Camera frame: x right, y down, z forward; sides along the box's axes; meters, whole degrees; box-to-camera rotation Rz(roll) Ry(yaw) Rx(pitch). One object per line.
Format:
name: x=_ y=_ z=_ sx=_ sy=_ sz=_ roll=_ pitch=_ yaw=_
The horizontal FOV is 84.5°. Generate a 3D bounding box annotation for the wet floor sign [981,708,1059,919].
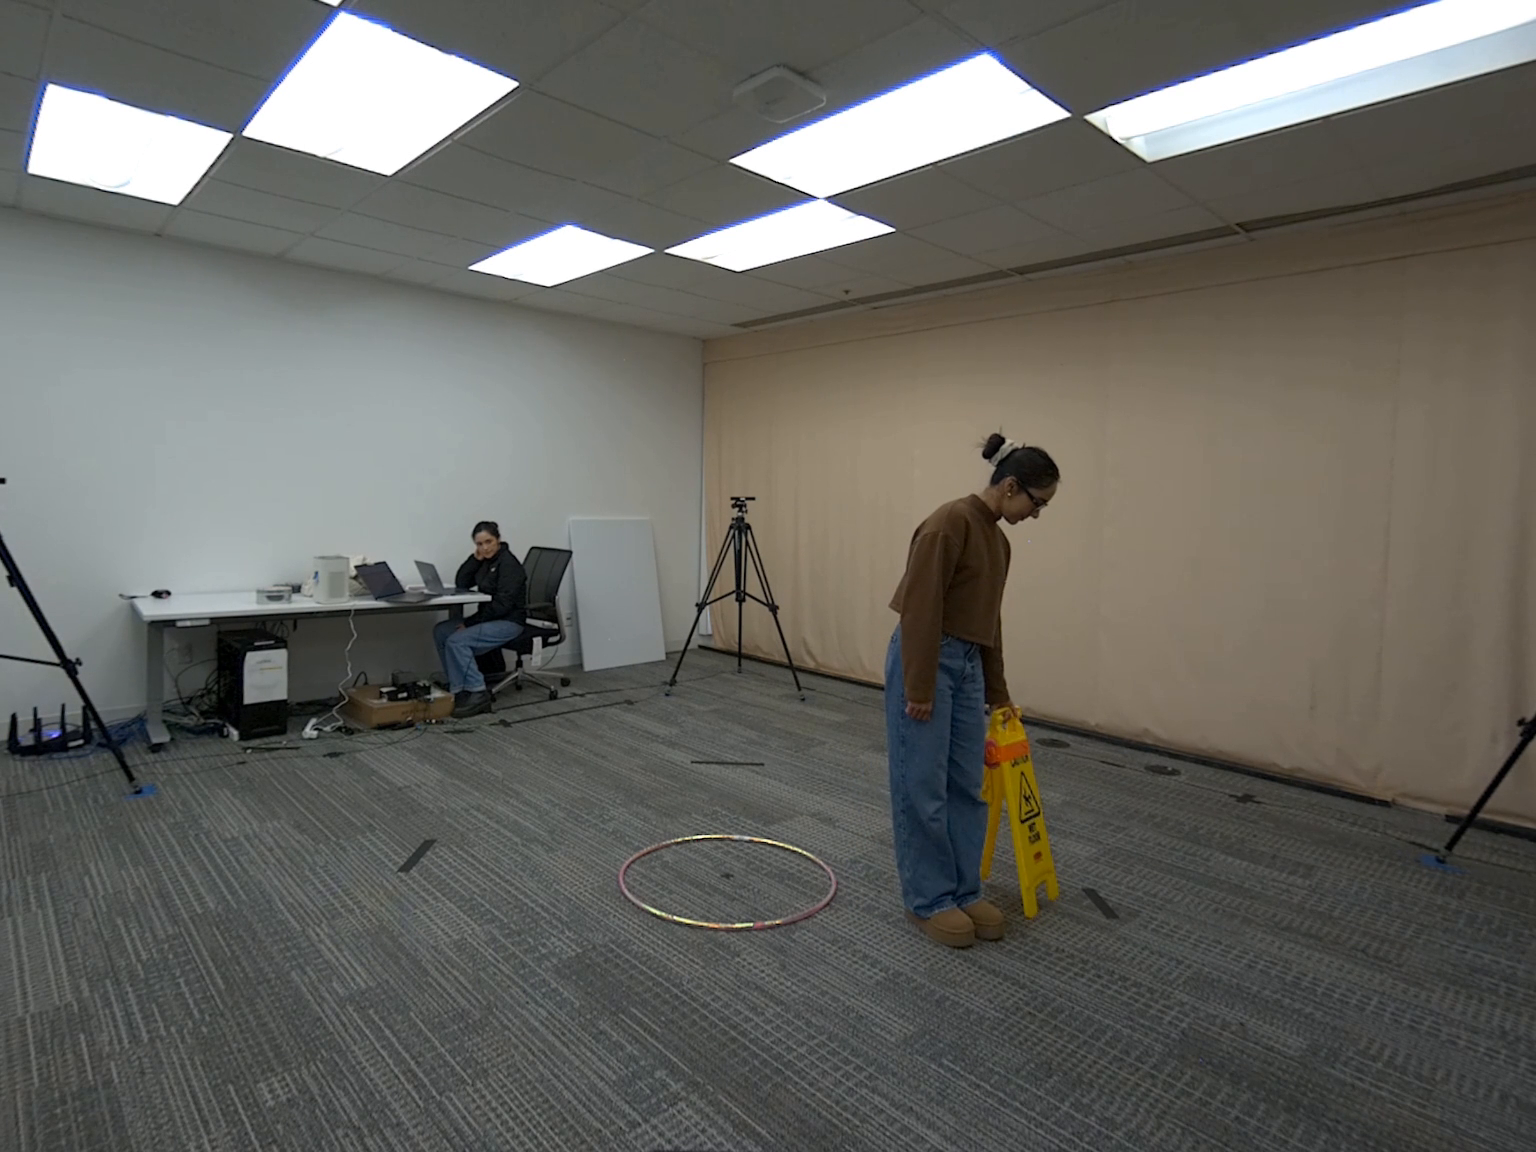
wet floor sign: x=0.828 y=0.783 z=2.926 sx=0.296 sy=0.646 sz=0.275 roll=0 pitch=0 yaw=40
